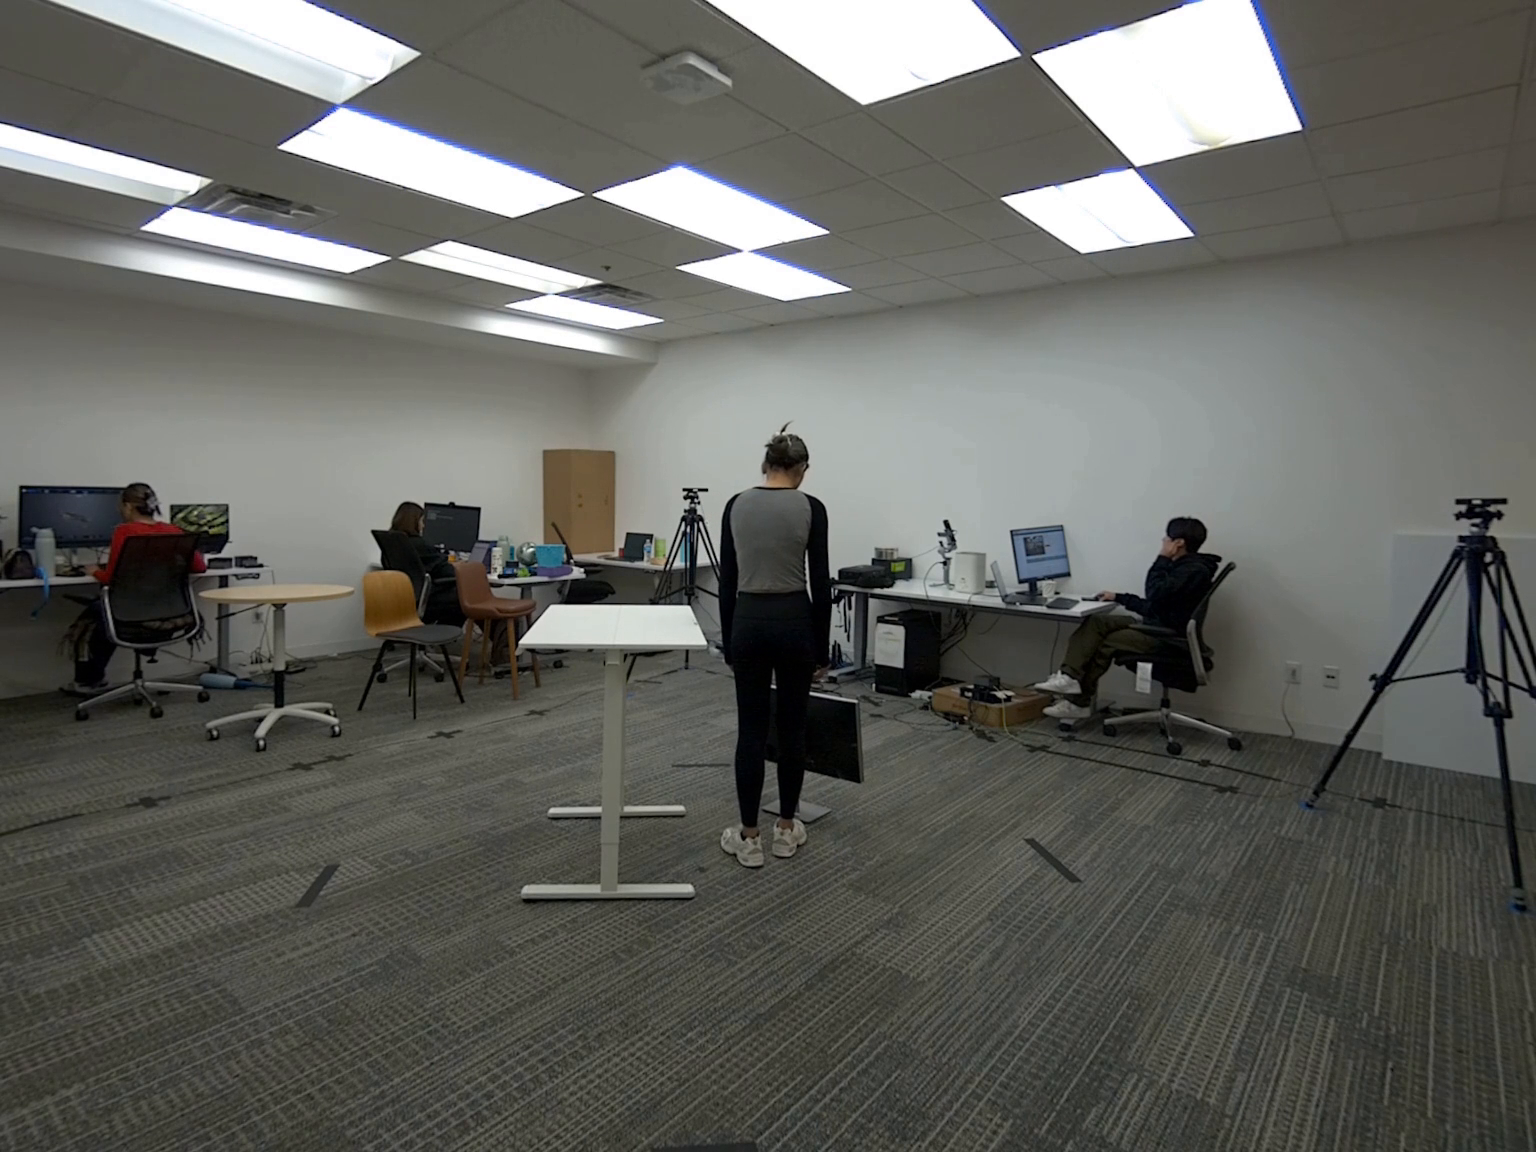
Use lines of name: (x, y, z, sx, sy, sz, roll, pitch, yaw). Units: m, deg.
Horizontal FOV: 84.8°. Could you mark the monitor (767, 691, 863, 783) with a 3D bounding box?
monitor: (0.124, 0.759, 3.688, 0.556, 0.522, 0.181, 4, 2, 34)
